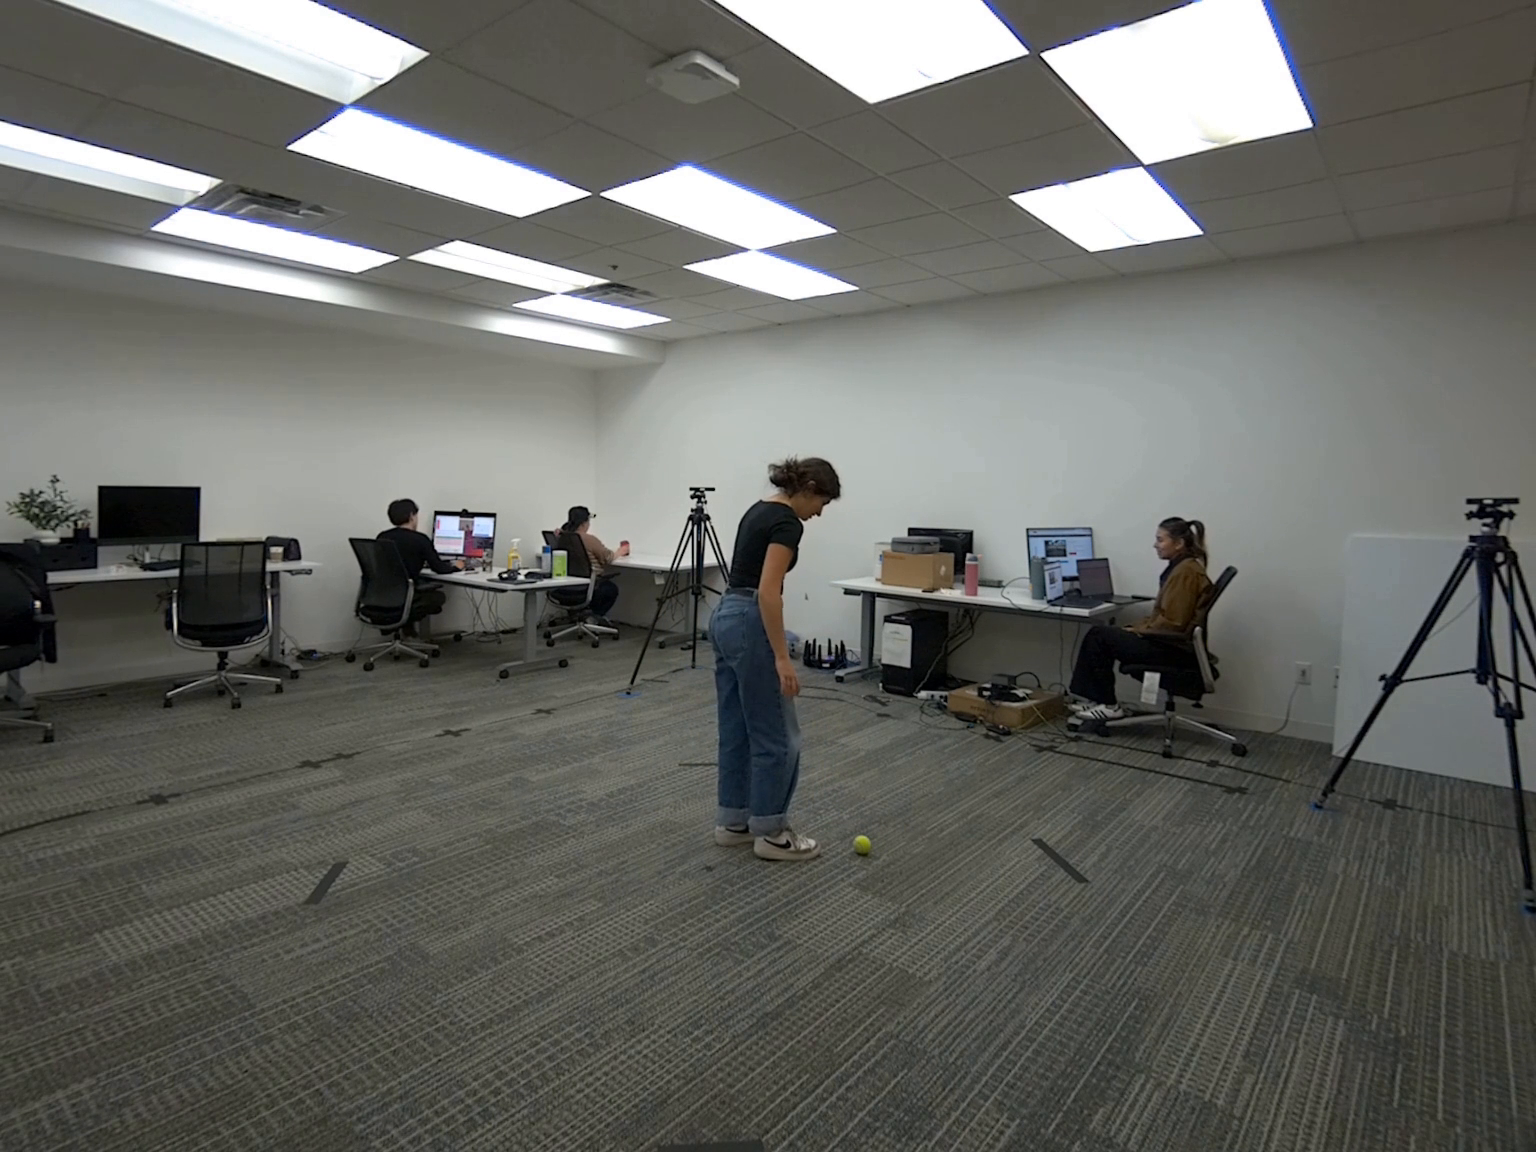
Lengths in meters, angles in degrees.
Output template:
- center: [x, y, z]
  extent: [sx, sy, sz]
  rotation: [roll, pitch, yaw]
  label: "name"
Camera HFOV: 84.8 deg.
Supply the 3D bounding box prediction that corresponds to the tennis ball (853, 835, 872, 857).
- center: [0.355, 1.029, 3.265]
  extent: [0.066, 0.066, 0.067]
  rotation: [1, 4, -2]
  label: "tennis ball"
